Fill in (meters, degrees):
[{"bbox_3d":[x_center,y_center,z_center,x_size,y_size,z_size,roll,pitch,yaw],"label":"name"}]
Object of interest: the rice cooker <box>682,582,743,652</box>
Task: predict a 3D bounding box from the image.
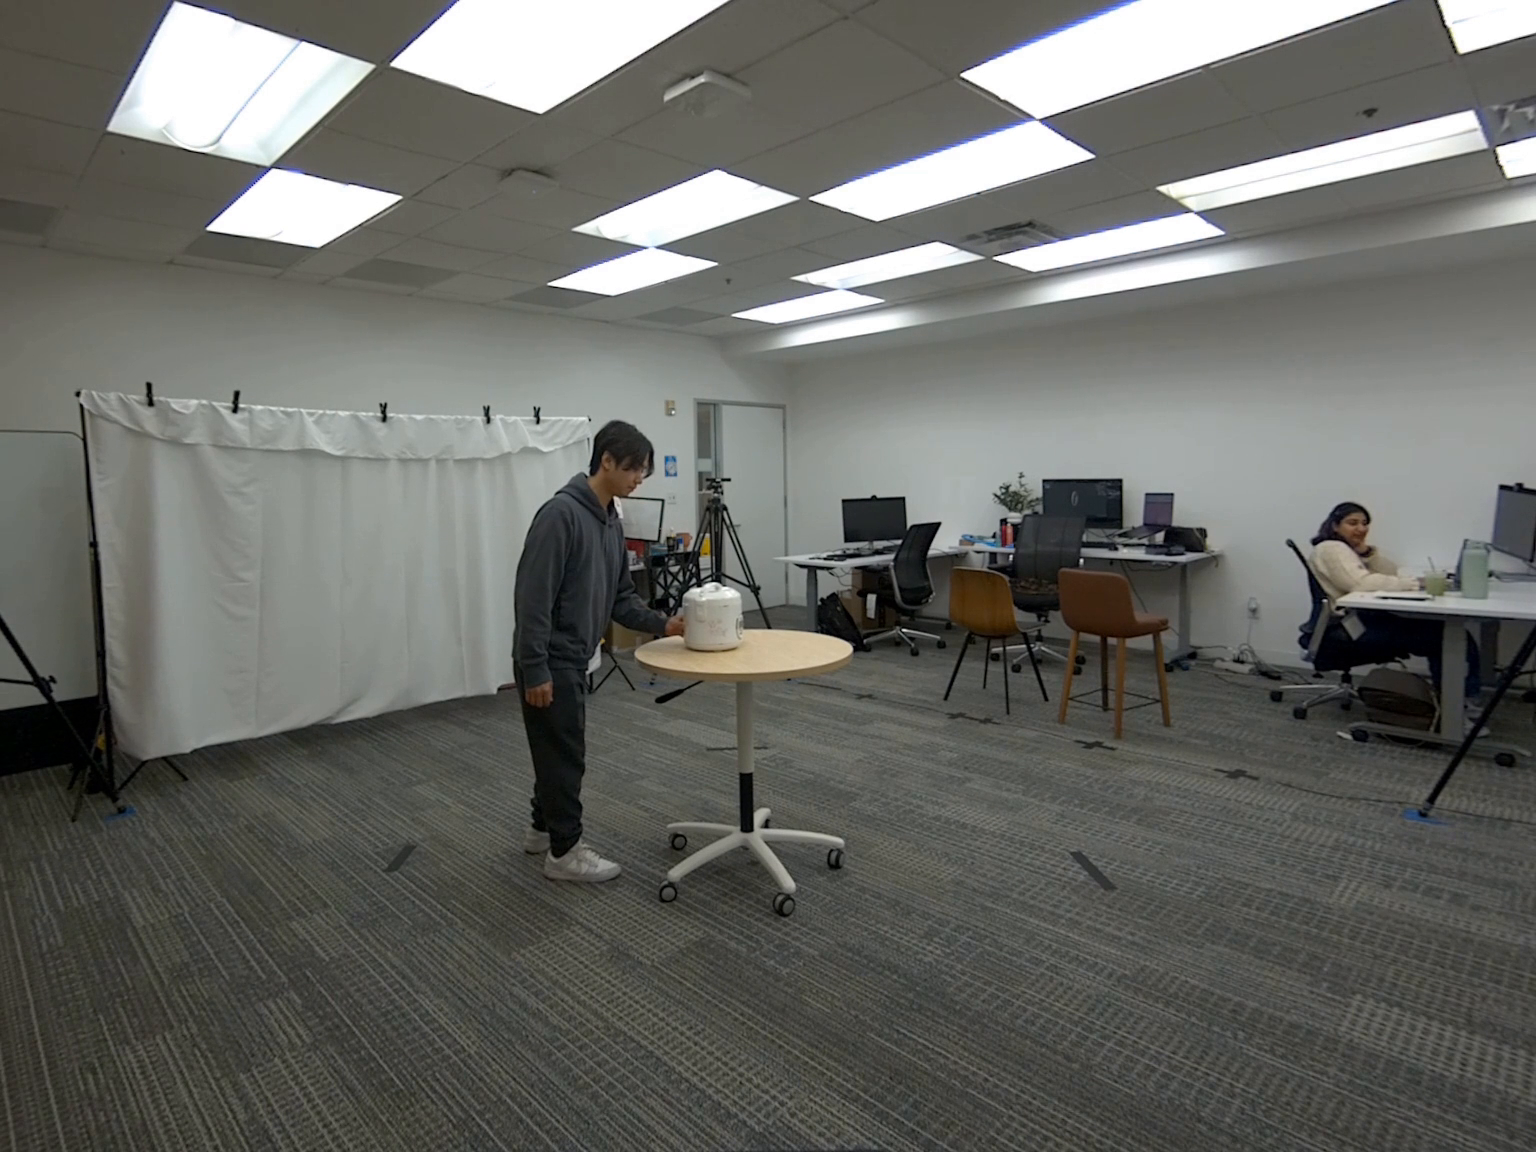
[{"bbox_3d":[-0.197,0.139,3.042,0.222,0.232,0.217,0,5,23],"label":"rice cooker"}]
